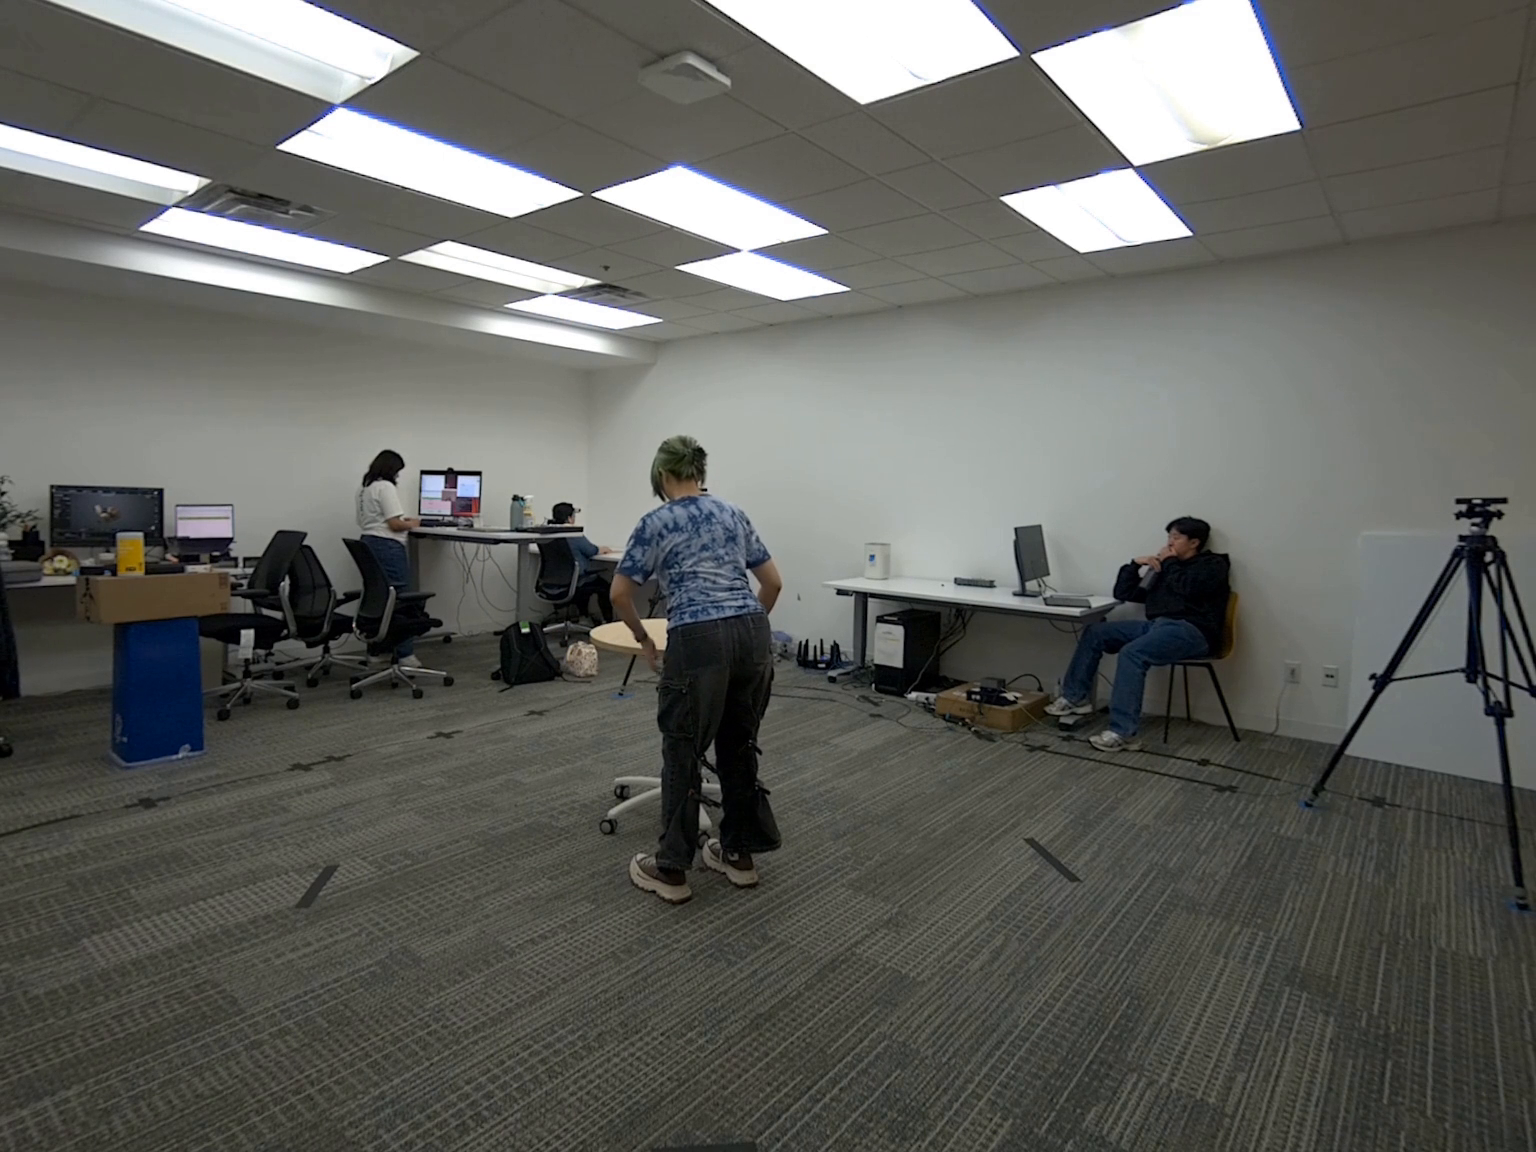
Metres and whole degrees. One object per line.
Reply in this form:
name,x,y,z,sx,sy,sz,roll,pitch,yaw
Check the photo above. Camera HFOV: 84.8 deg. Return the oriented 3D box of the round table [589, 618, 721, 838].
round table,-0.380,0.629,3.606,0.763,0.791,0.768,1,4,-2
